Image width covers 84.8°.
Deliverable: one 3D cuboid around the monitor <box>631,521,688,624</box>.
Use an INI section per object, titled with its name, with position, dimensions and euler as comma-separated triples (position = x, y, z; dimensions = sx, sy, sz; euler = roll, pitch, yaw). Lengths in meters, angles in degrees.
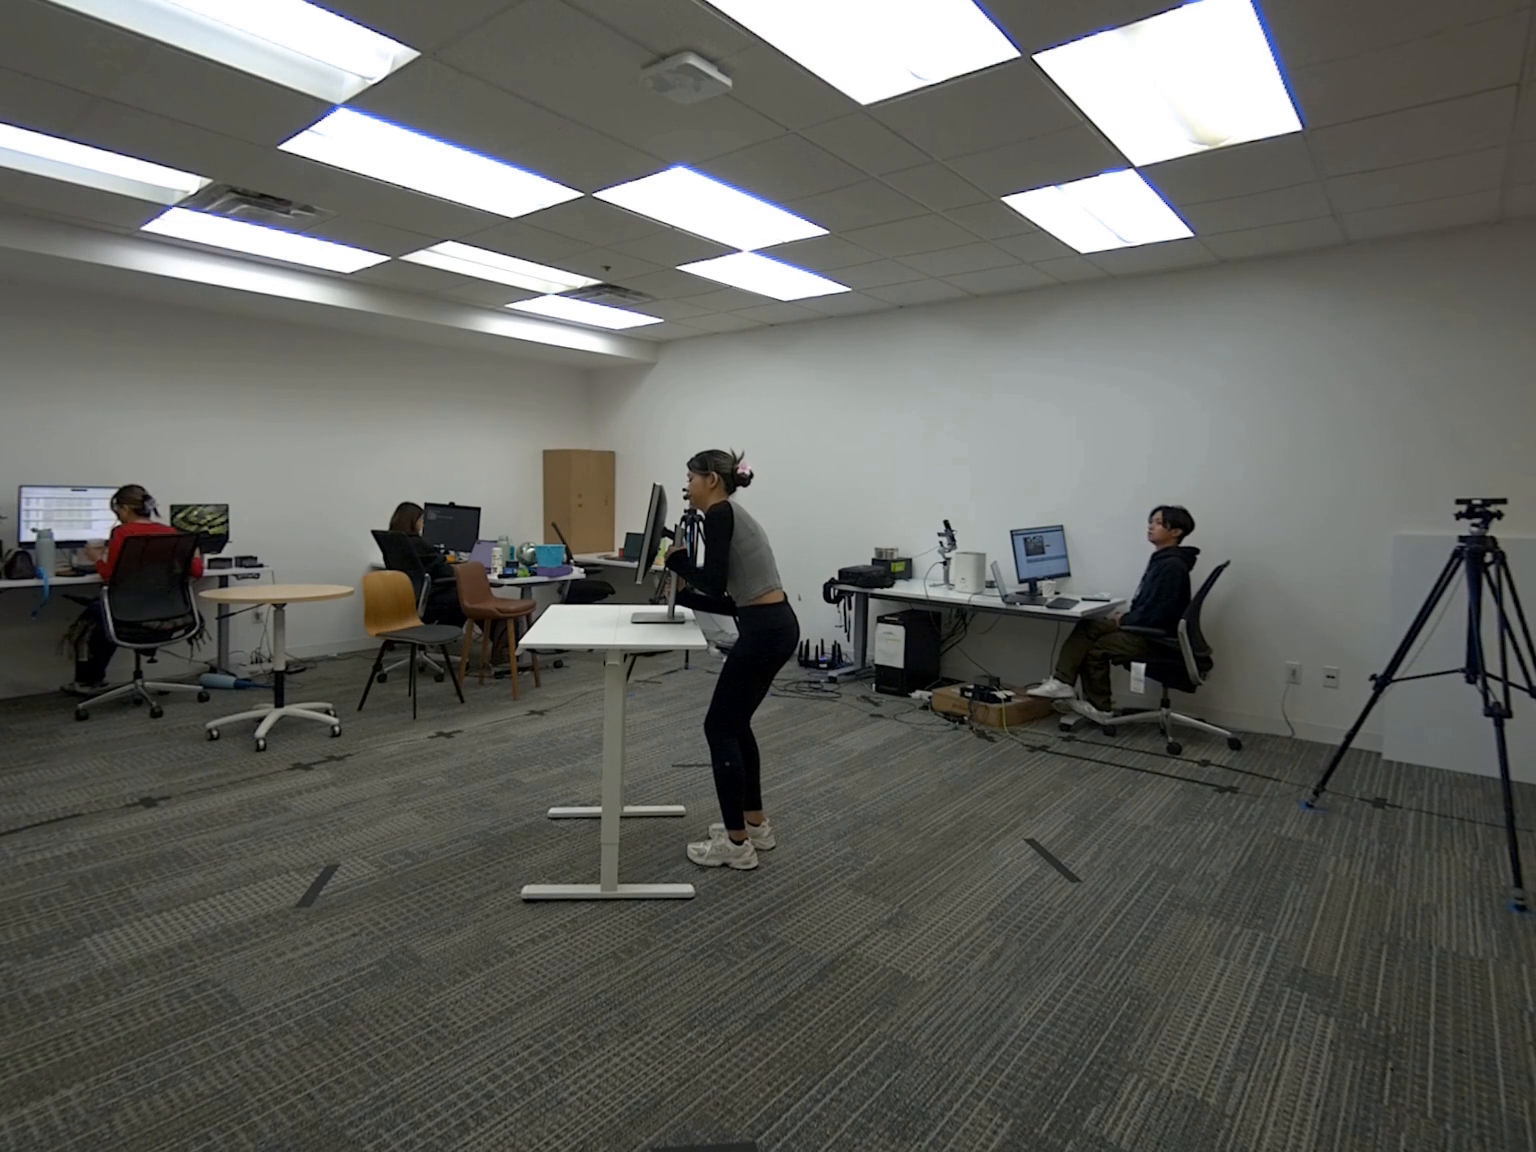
[monitor]
position = -0.425, -0.091, 3.287
dimensions = 0.186, 0.521, 0.544
euler = -1, 4, -7
